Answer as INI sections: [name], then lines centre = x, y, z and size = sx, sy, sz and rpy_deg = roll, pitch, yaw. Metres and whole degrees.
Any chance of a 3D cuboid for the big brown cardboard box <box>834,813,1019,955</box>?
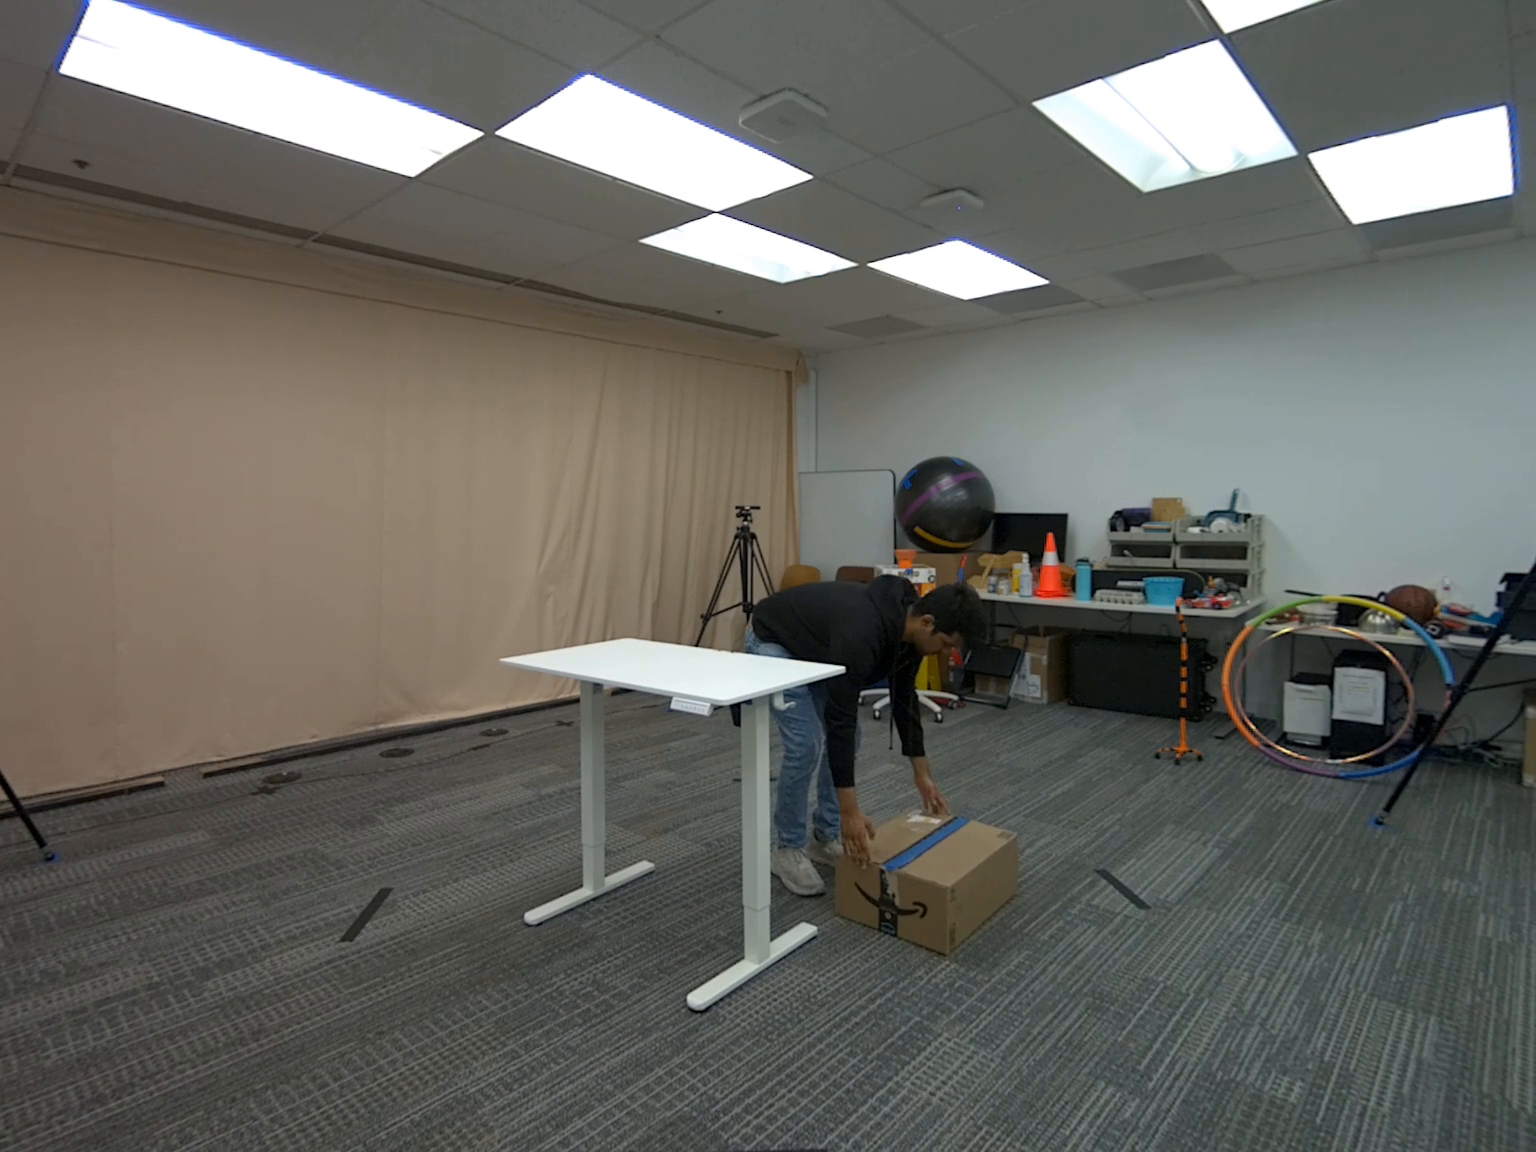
[big brown cardboard box]
centre = 0.572, 1.028, 2.932
size = 0.431, 0.232, 0.572
rpy_deg = 4, 7, 39
